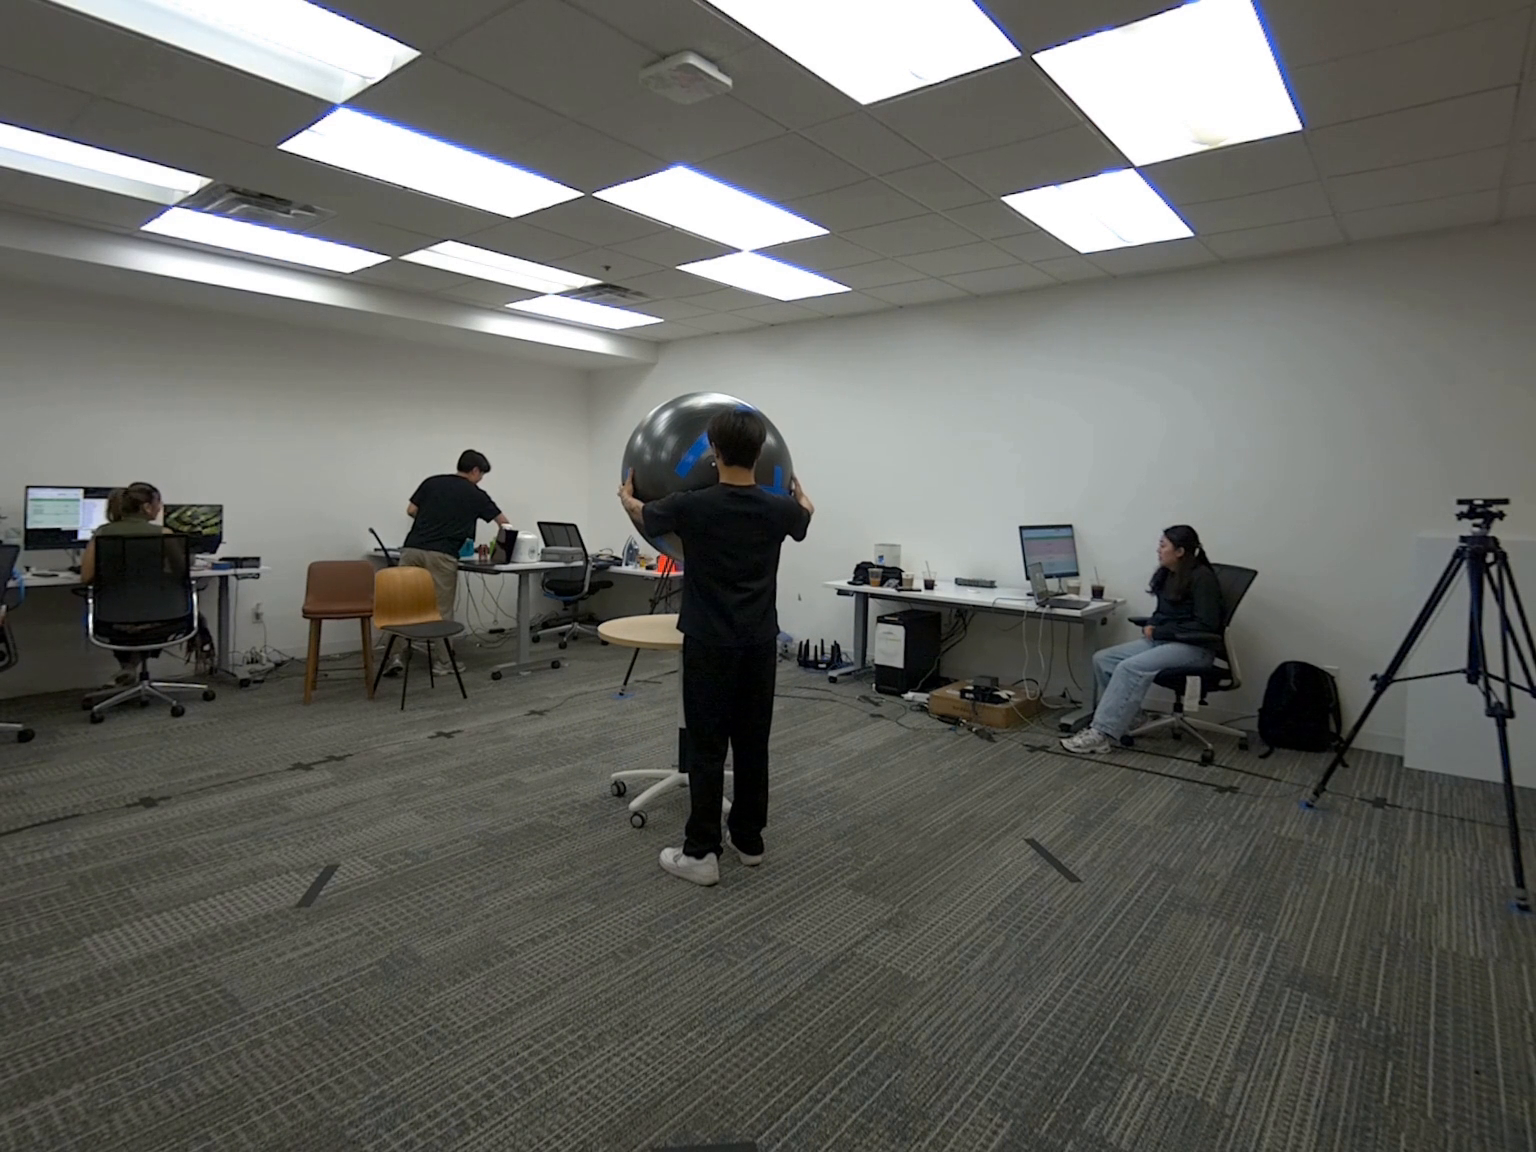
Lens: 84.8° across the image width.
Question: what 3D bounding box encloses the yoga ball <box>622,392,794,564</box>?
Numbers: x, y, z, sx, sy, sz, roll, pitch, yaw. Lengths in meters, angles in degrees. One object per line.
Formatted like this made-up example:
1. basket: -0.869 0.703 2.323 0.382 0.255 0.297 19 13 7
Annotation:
1. yoga ball: -0.277 -0.420 3.736 0.757 0.755 0.762 1 4 -2
